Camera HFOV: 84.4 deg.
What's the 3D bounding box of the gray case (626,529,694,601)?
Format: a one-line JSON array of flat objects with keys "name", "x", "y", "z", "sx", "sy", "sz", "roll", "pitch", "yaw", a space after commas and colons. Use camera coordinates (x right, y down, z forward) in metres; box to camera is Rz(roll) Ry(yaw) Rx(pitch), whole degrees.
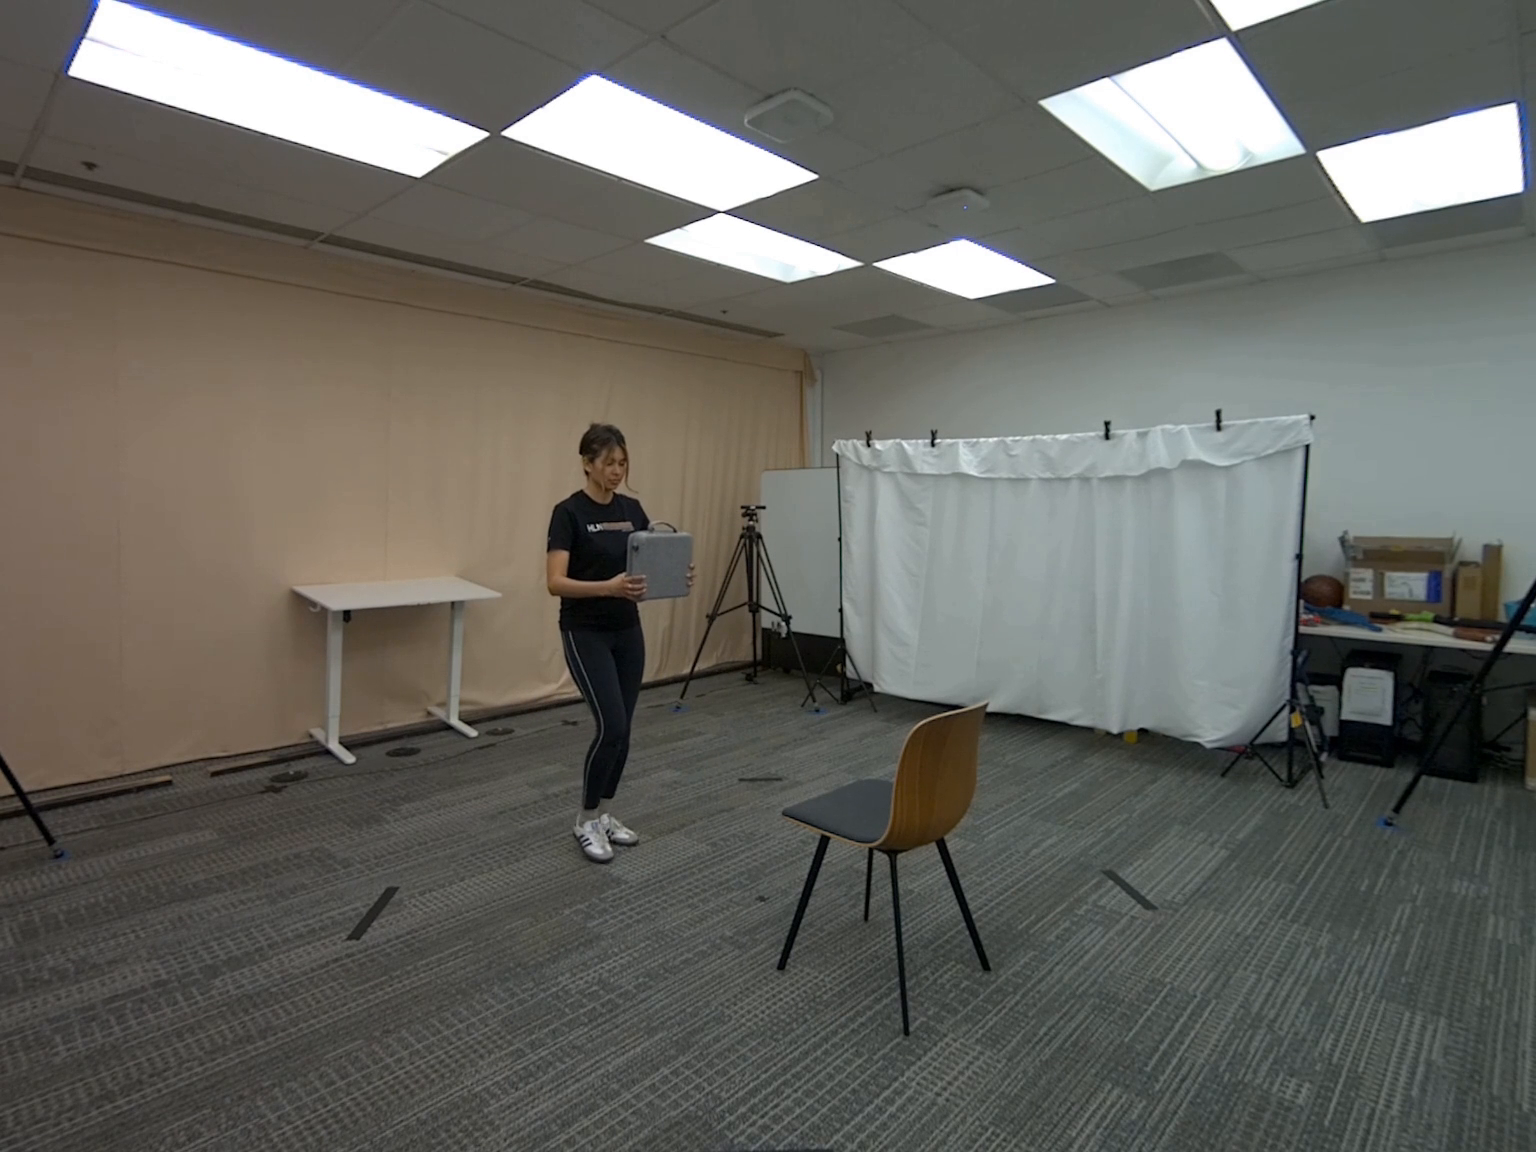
[{"name": "gray case", "x": -0.409, "y": -0.046, "z": 3.175, "sx": 0.249, "sy": 0.259, "sz": 0.108, "roll": -5, "pitch": 11, "yaw": -42}]
